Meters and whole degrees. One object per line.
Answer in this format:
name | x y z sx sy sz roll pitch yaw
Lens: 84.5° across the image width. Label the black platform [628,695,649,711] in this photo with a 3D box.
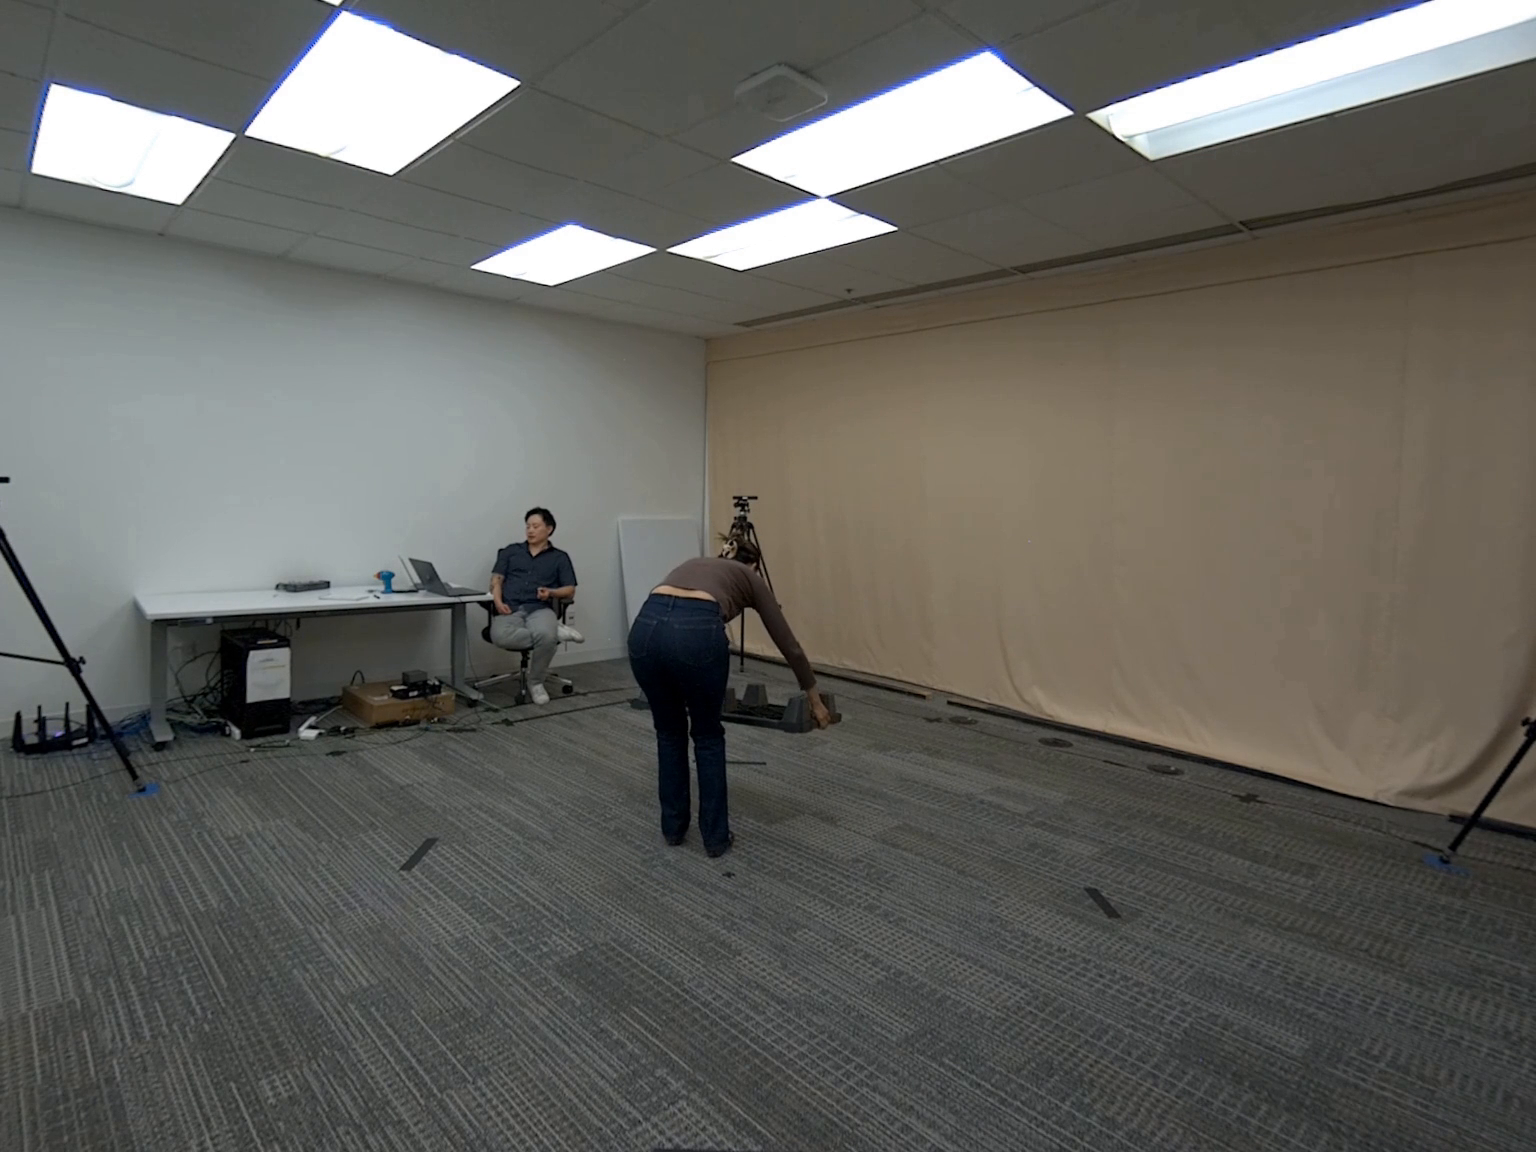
black platform | -0.124 0.569 3.796 0.820 0.143 0.593 4 -2 23
